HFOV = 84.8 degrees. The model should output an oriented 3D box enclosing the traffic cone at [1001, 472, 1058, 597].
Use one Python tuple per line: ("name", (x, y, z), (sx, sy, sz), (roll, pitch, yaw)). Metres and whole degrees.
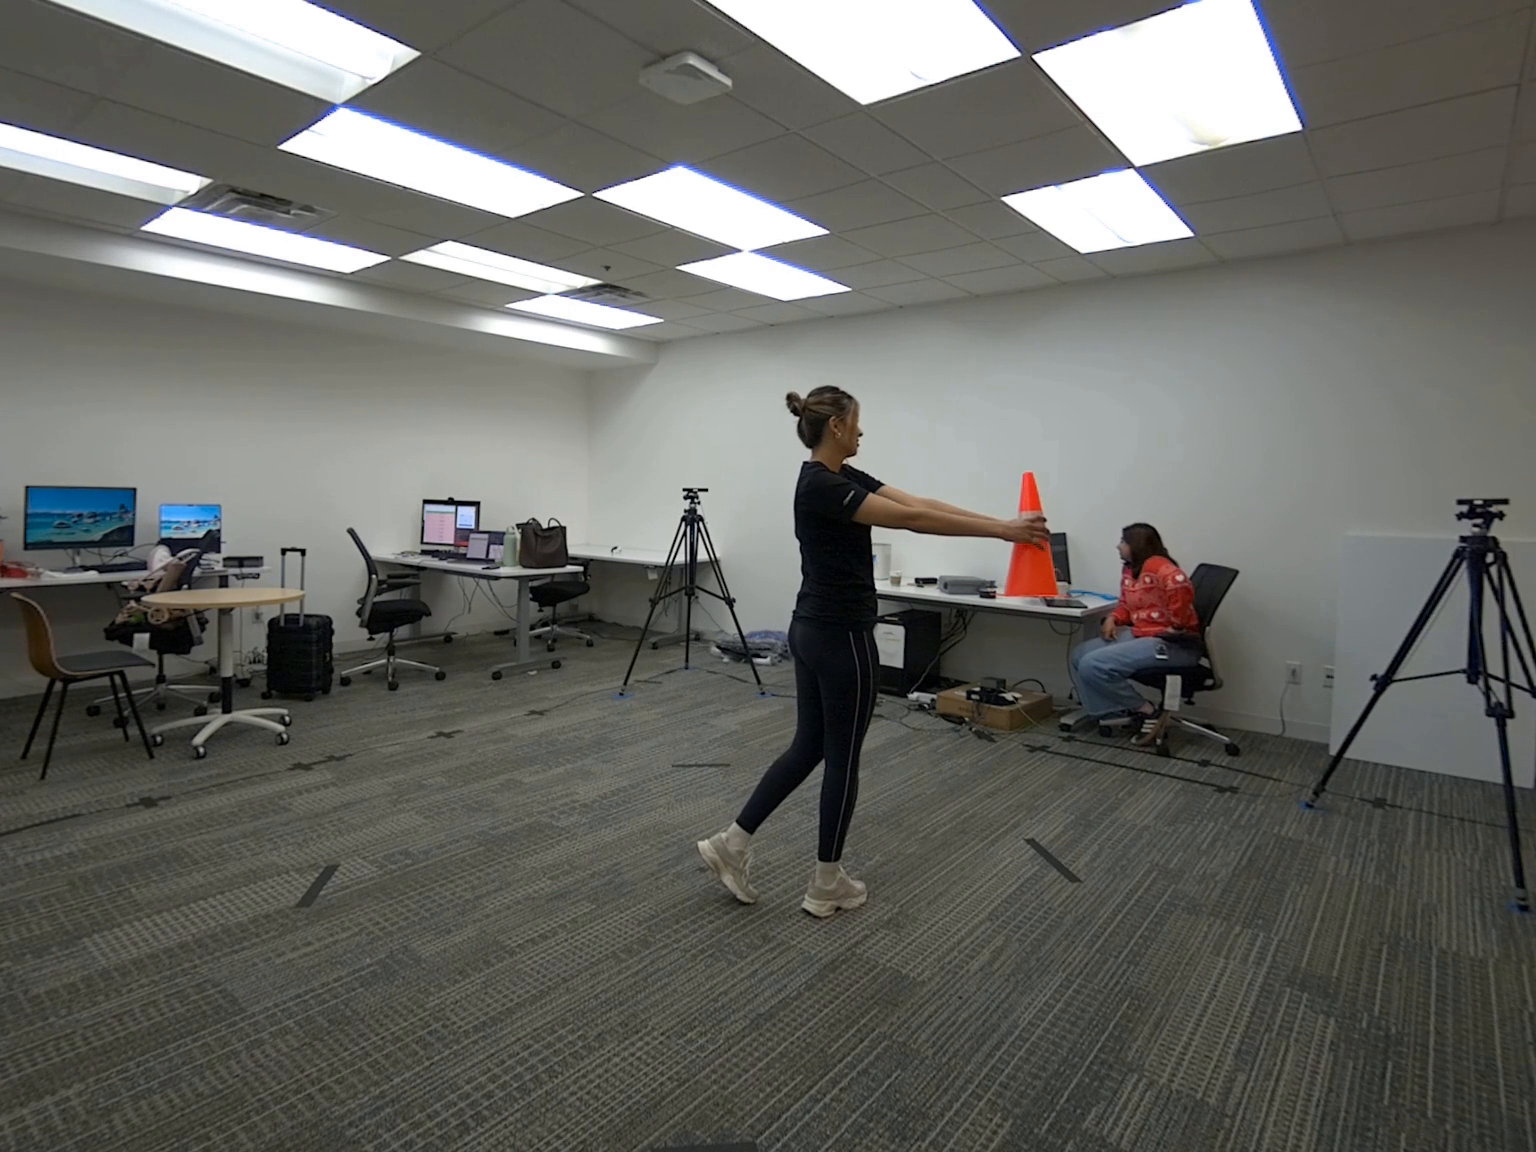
("traffic cone", (0.808, -0.130, 2.623), (0.209, 0.385, 0.198), (-5, -4, 41))
